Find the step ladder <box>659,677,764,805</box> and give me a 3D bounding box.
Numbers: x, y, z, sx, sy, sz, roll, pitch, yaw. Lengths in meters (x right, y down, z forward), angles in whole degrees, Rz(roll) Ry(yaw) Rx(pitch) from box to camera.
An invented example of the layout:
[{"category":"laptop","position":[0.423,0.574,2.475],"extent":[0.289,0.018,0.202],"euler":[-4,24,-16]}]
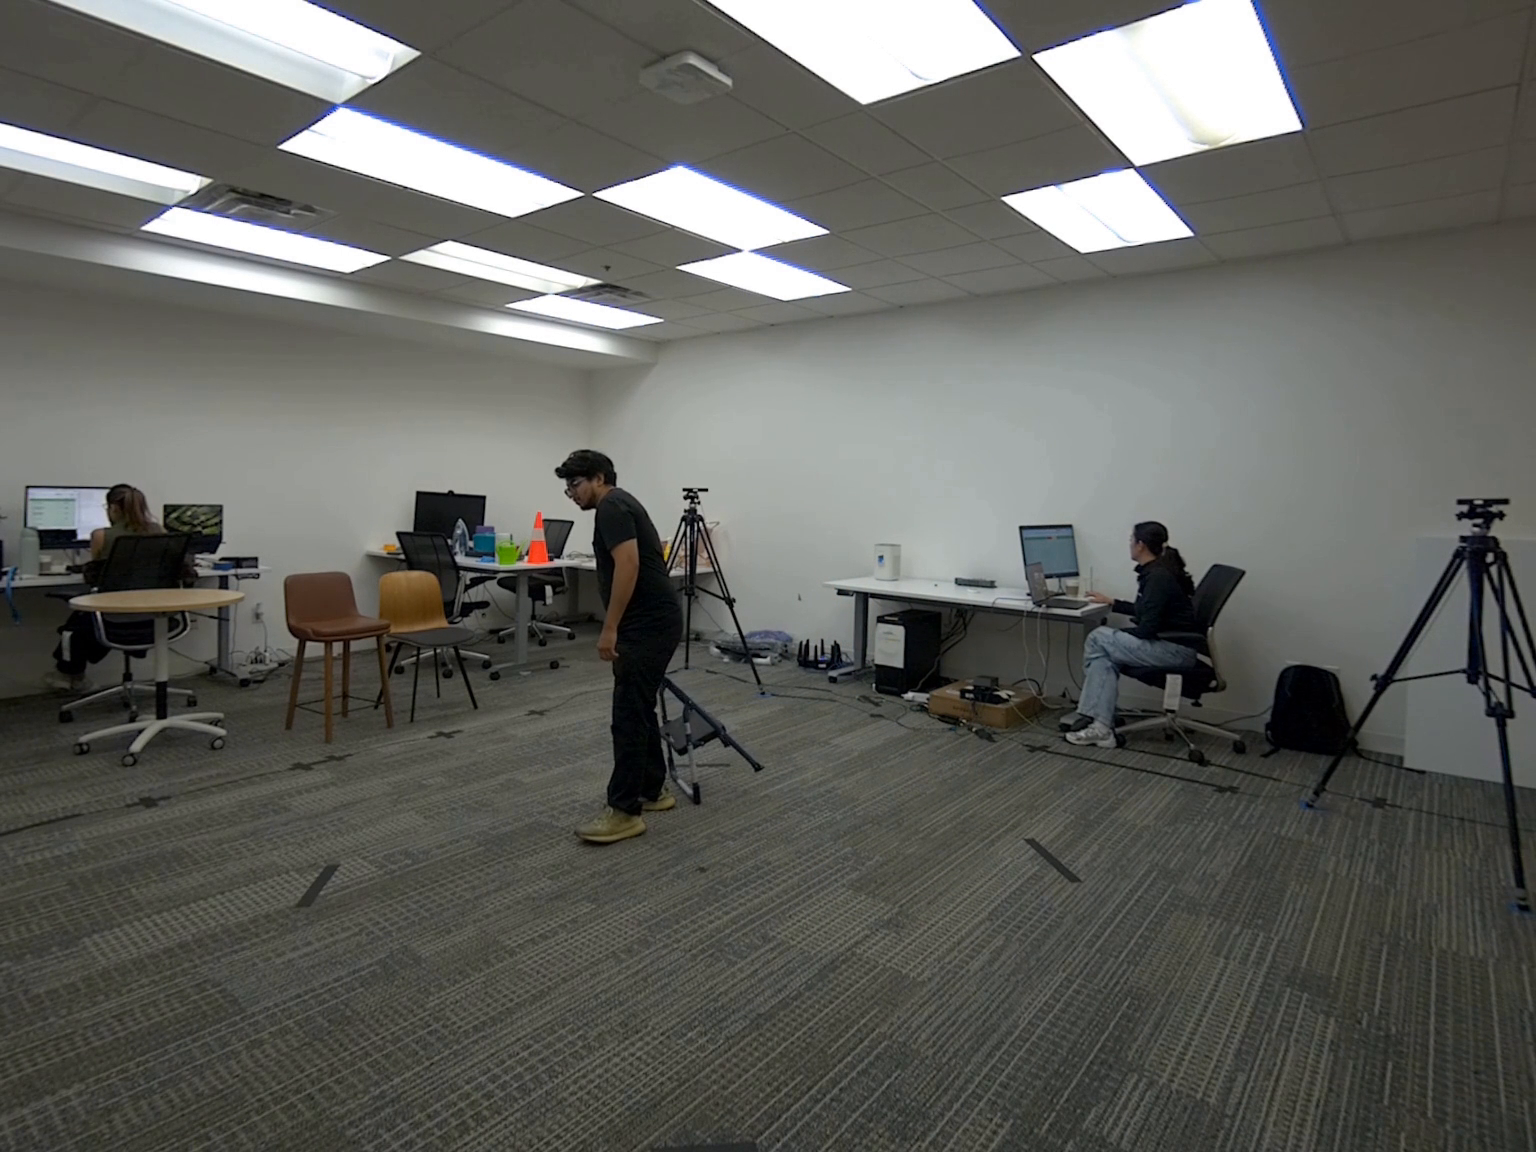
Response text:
[{"category":"step ladder","position":[-0.370,0.649,3.938],"extent":[0.346,0.598,0.441],"euler":[-25,11,-19]}]
